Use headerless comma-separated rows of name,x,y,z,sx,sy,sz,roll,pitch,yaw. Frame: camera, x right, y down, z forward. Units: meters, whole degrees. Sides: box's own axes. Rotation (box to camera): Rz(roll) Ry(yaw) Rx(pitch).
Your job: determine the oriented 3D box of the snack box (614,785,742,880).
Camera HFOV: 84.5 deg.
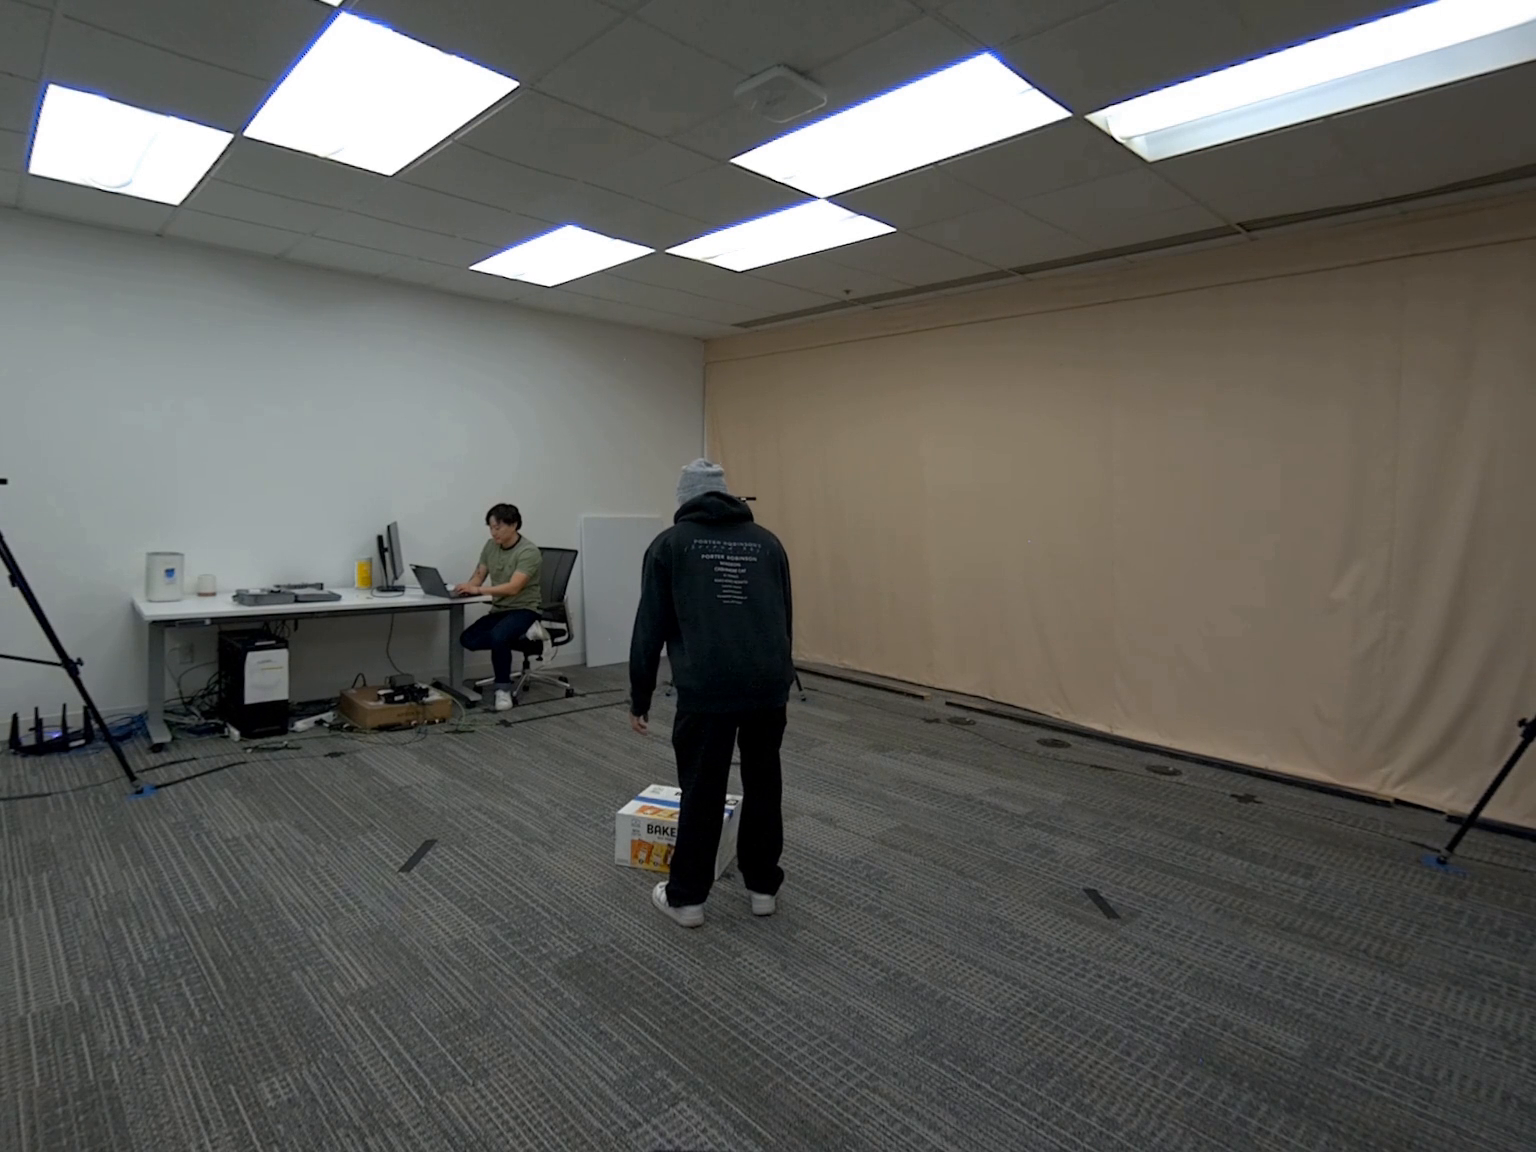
snack box,-0.343,0.987,3.269,0.411,0.205,0.337,3,5,16
